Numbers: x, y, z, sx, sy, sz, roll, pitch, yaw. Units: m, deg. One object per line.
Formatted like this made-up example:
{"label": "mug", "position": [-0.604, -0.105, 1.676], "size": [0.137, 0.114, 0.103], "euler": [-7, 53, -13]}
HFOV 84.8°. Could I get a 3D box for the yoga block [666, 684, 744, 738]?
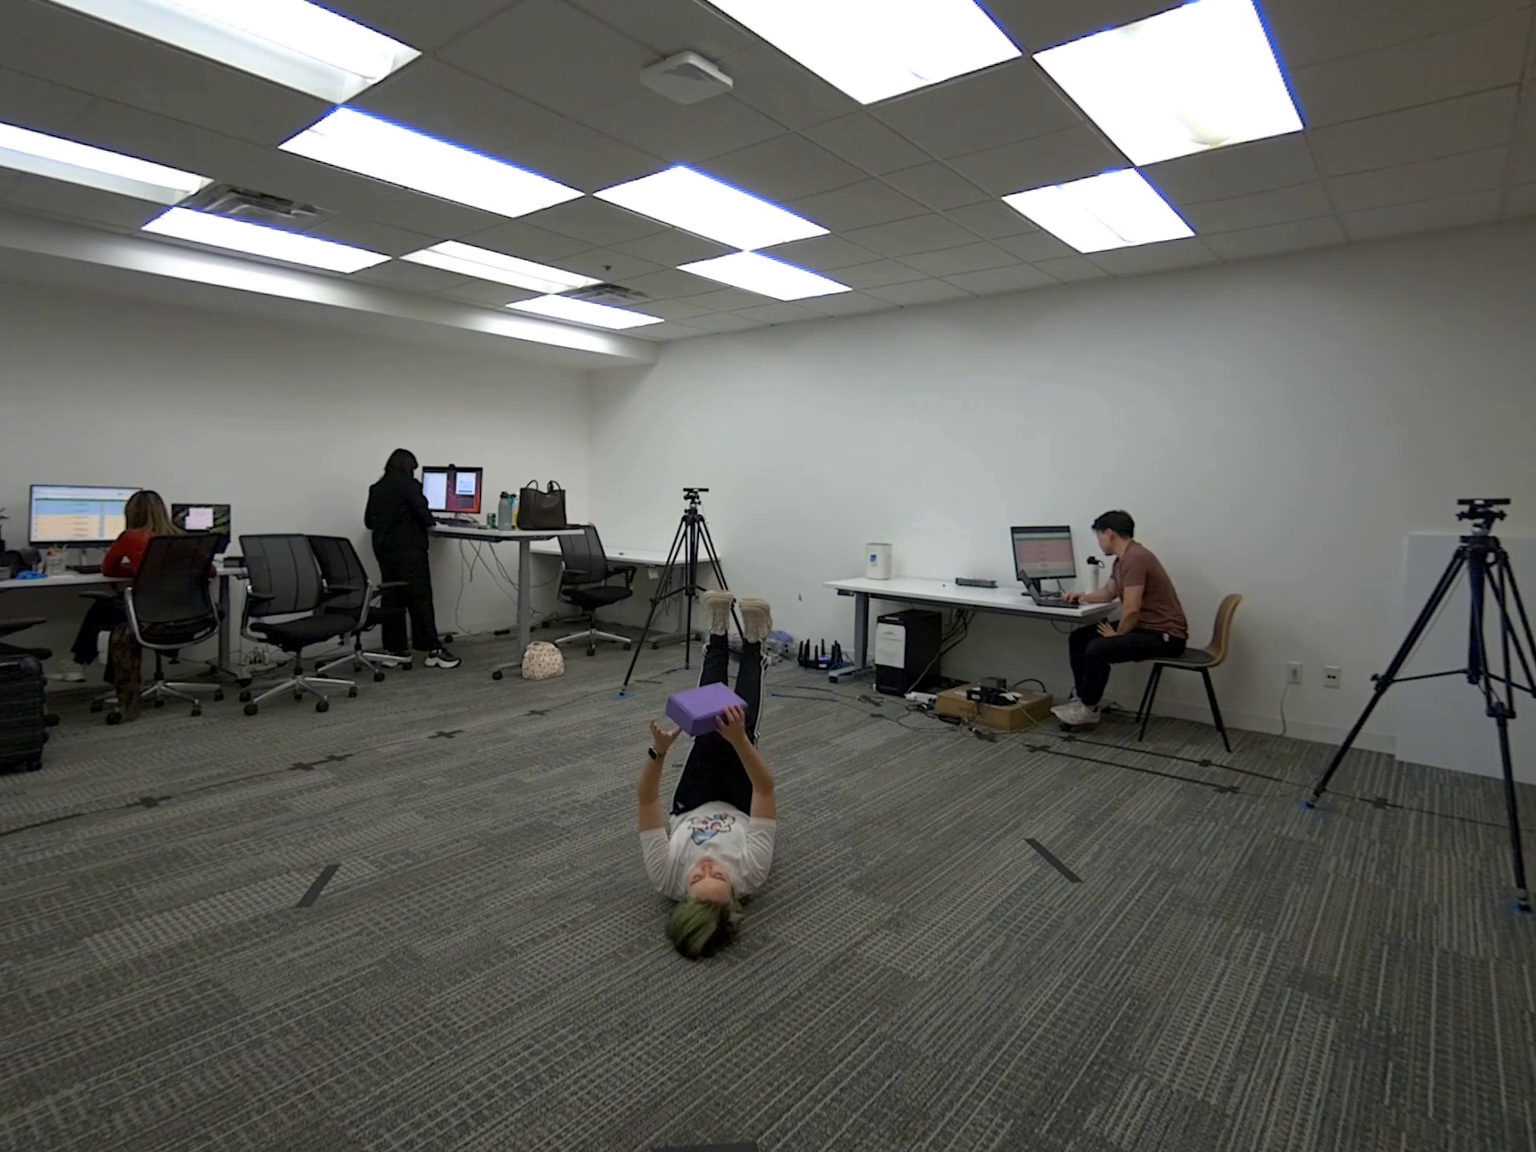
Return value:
{"label": "yoga block", "position": [-0.213, 0.429, 2.737], "size": [0.223, 0.075, 0.155], "euler": [-10, 29, -45]}
